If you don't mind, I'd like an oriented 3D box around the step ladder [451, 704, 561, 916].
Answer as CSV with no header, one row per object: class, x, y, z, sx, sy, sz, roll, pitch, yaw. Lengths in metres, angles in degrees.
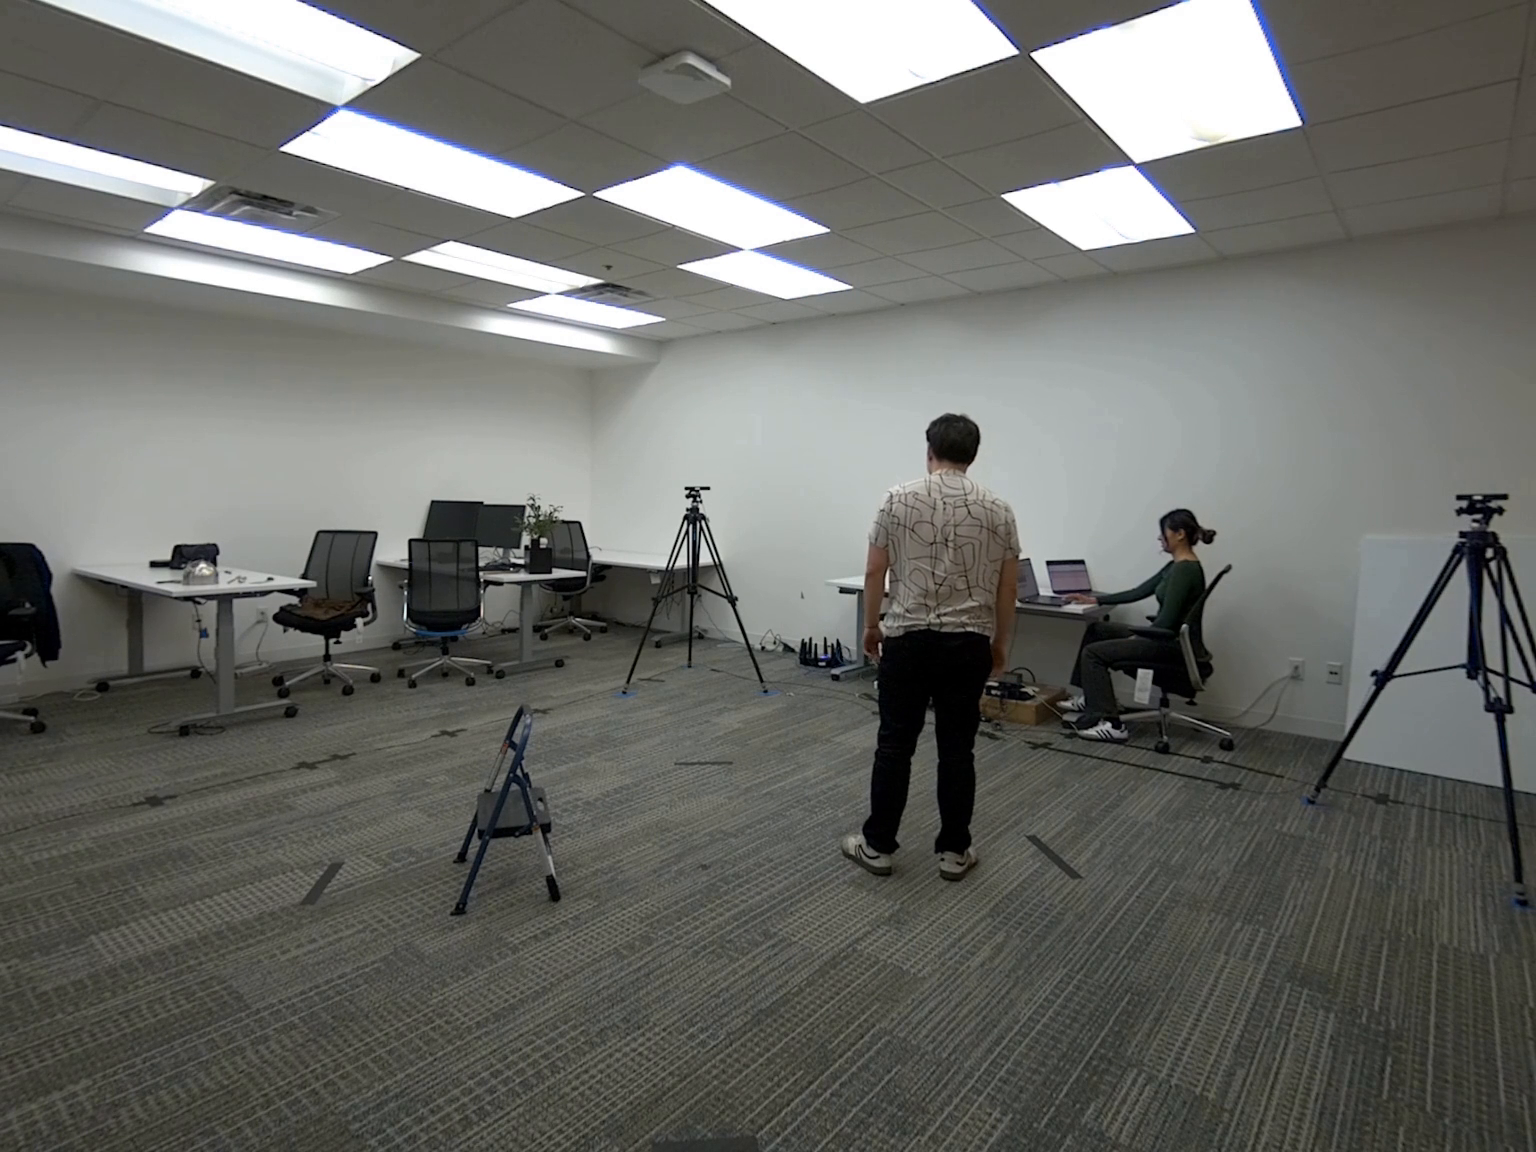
step ladder,-0.930,0.769,2.973,0.343,0.604,0.440,0,4,-19
